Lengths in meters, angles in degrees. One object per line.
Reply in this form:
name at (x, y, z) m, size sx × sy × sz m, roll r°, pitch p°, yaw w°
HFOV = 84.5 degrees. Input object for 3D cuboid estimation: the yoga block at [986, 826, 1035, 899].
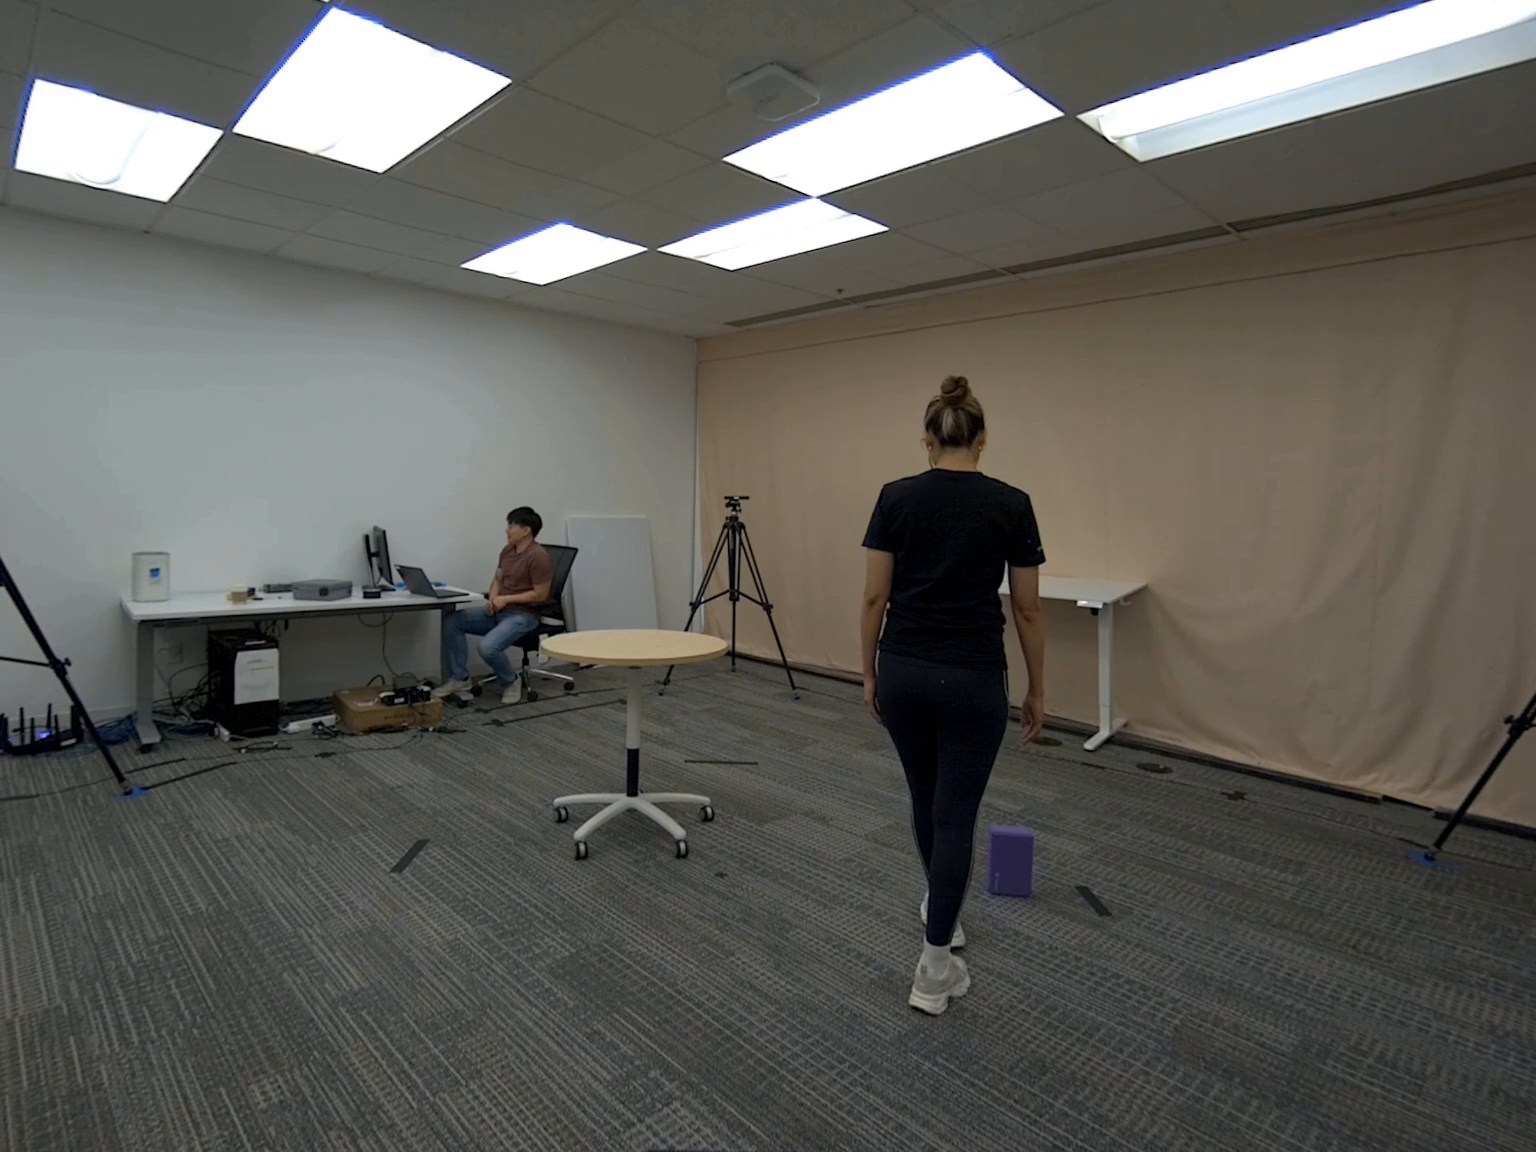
yoga block at (0.869, 1.026, 3.024) m, size 0.150 × 0.229 × 0.076 m, roll 5°, pitch 3°, yaw 6°
